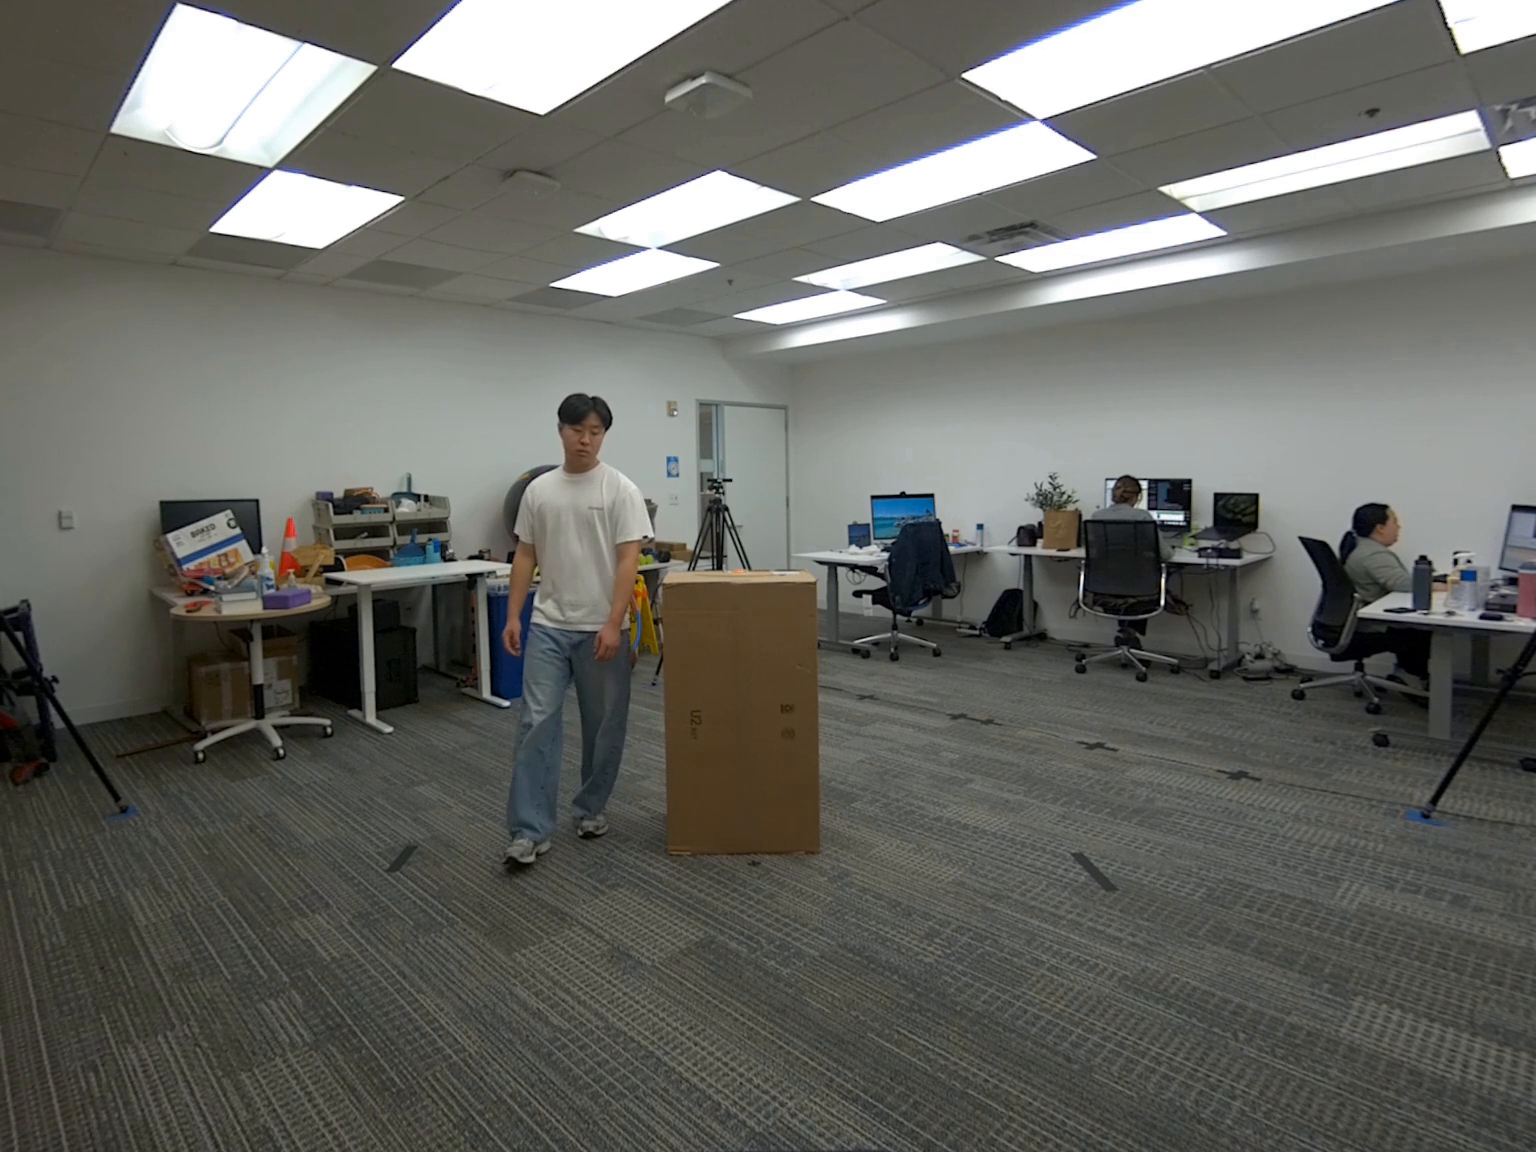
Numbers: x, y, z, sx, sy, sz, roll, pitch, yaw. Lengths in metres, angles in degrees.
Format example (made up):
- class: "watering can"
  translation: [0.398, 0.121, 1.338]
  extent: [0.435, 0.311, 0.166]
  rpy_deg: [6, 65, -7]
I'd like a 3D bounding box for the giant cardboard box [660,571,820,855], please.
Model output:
- class: "giant cardboard box"
  translation: [-0.103, 0.507, 3.366]
  extent: [0.577, 1.022, 0.428]
  rpy_deg: [-1, 4, -1]
